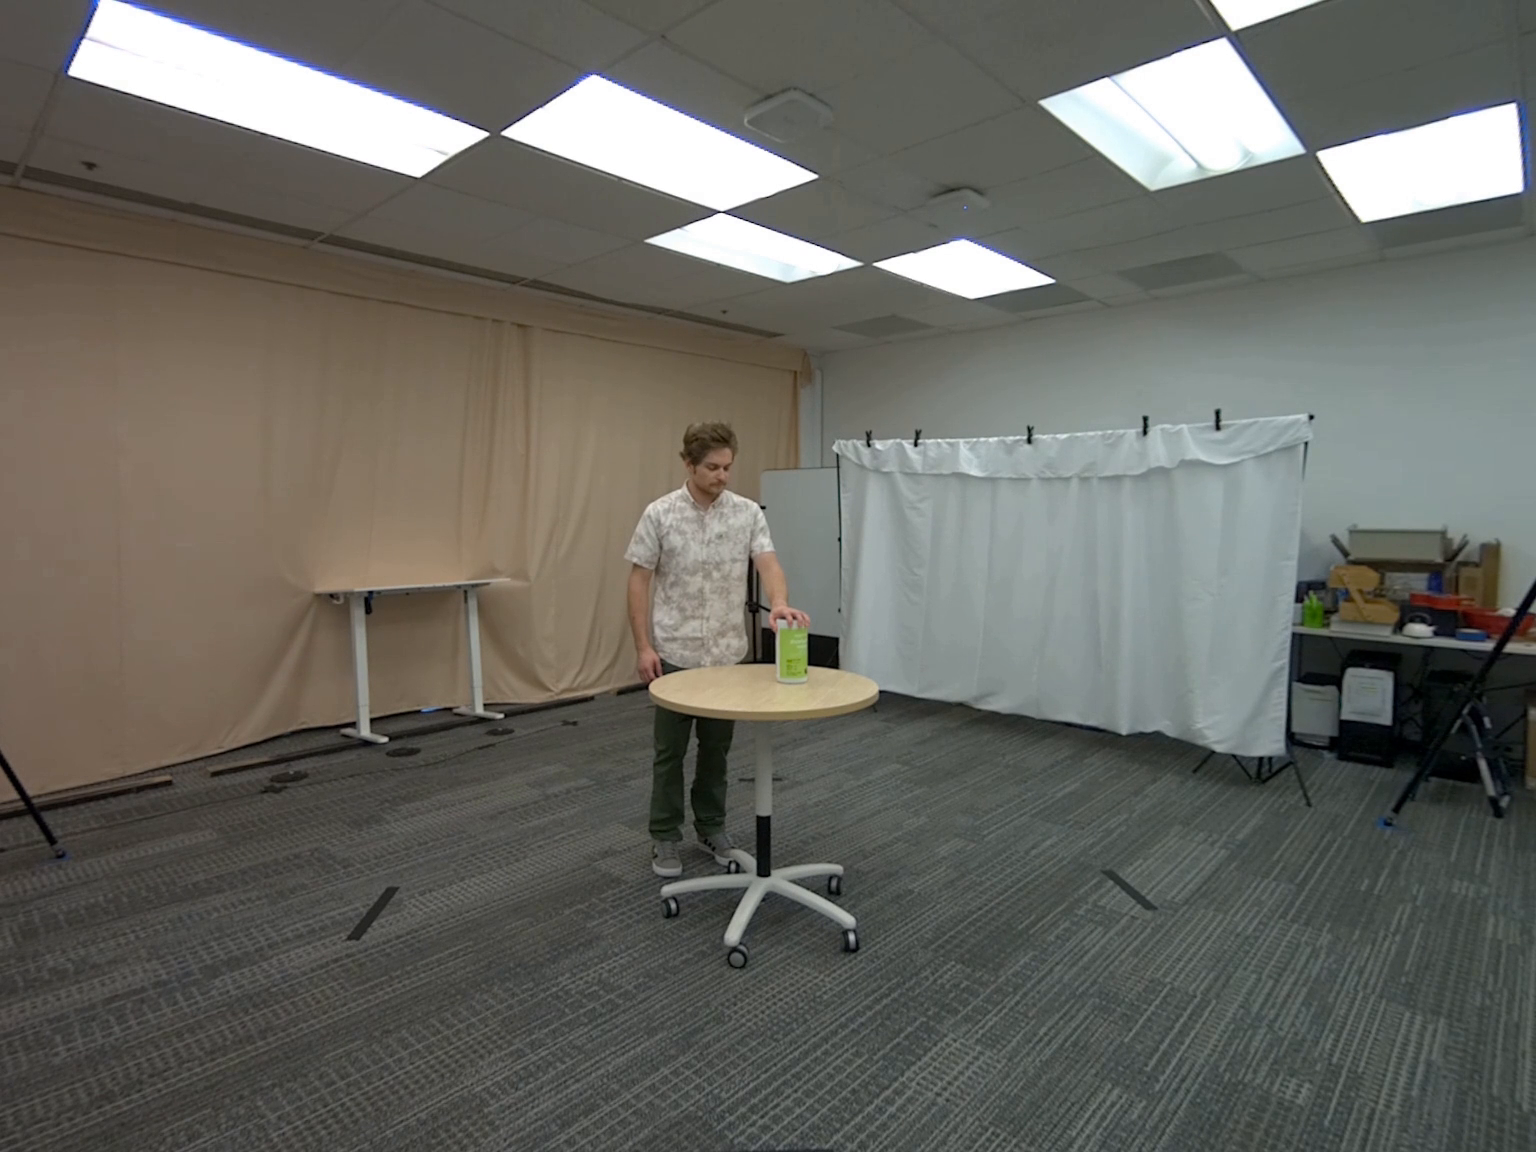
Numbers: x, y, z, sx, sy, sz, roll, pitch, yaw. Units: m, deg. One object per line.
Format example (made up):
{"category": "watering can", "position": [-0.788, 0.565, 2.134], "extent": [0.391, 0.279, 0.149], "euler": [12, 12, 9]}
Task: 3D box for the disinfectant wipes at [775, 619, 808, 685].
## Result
{"category": "disinfectant wipes", "position": [0.082, 0.256, 2.881], "extent": [0.117, 0.217, 0.118], "euler": [3, 3, -2]}
